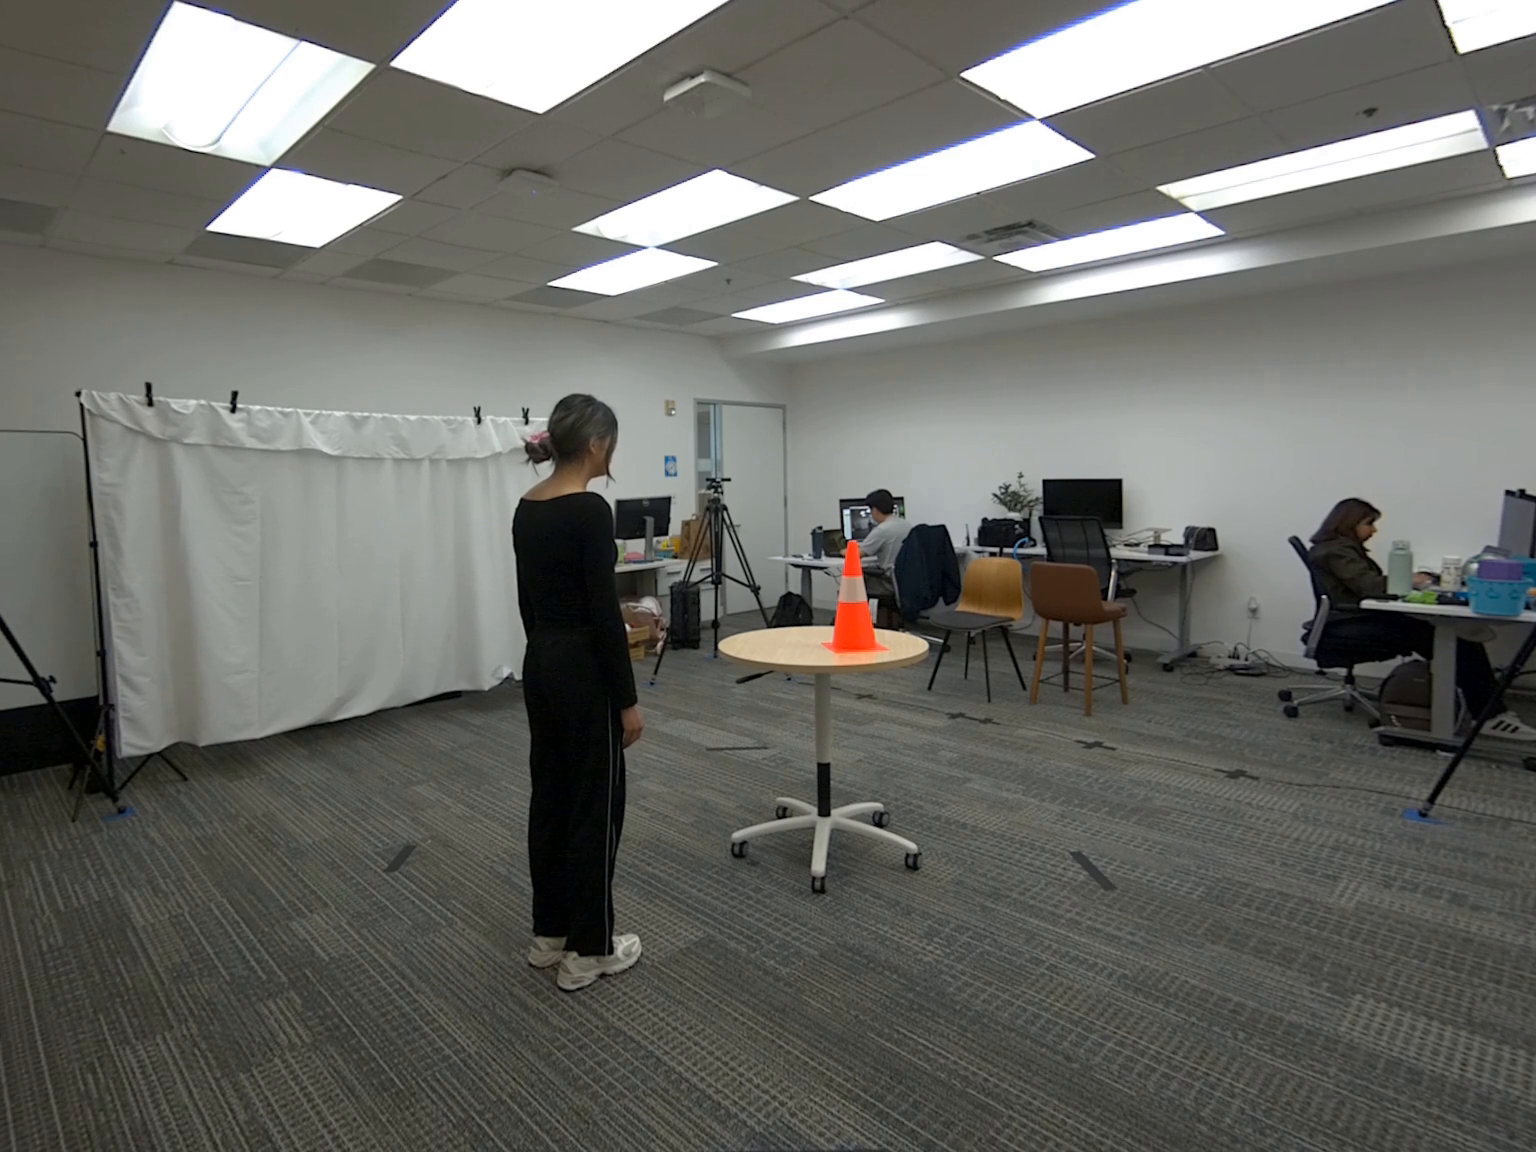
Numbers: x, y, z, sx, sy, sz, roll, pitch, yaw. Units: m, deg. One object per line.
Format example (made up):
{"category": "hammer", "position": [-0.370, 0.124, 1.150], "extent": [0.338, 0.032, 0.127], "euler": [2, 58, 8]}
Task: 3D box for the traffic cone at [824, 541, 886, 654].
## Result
{"category": "traffic cone", "position": [0.307, 0.067, 3.064], "extent": [0.201, 0.383, 0.208], "euler": [-2, 3, -15]}
